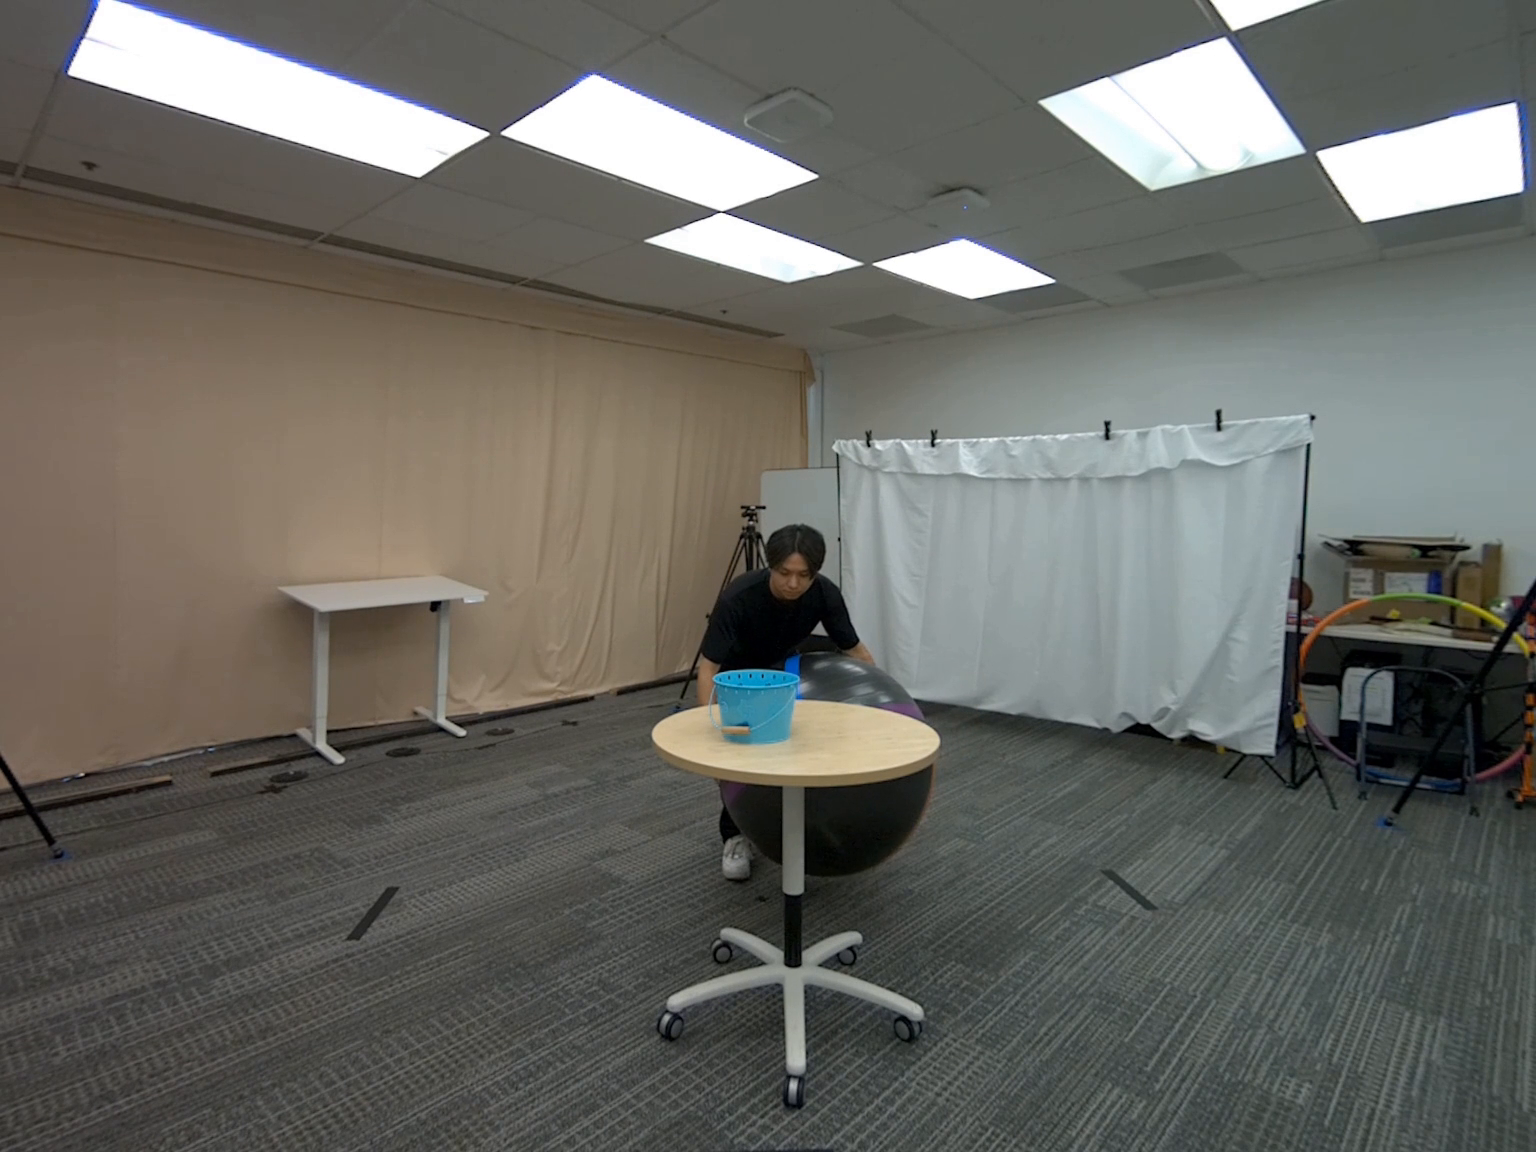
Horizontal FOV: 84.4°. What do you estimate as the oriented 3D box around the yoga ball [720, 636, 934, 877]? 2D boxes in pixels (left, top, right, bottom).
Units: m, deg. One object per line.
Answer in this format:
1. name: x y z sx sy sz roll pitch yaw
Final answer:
1. yoga ball: 0.212 0.664 2.991 0.757 0.756 0.760 0 4 -2
